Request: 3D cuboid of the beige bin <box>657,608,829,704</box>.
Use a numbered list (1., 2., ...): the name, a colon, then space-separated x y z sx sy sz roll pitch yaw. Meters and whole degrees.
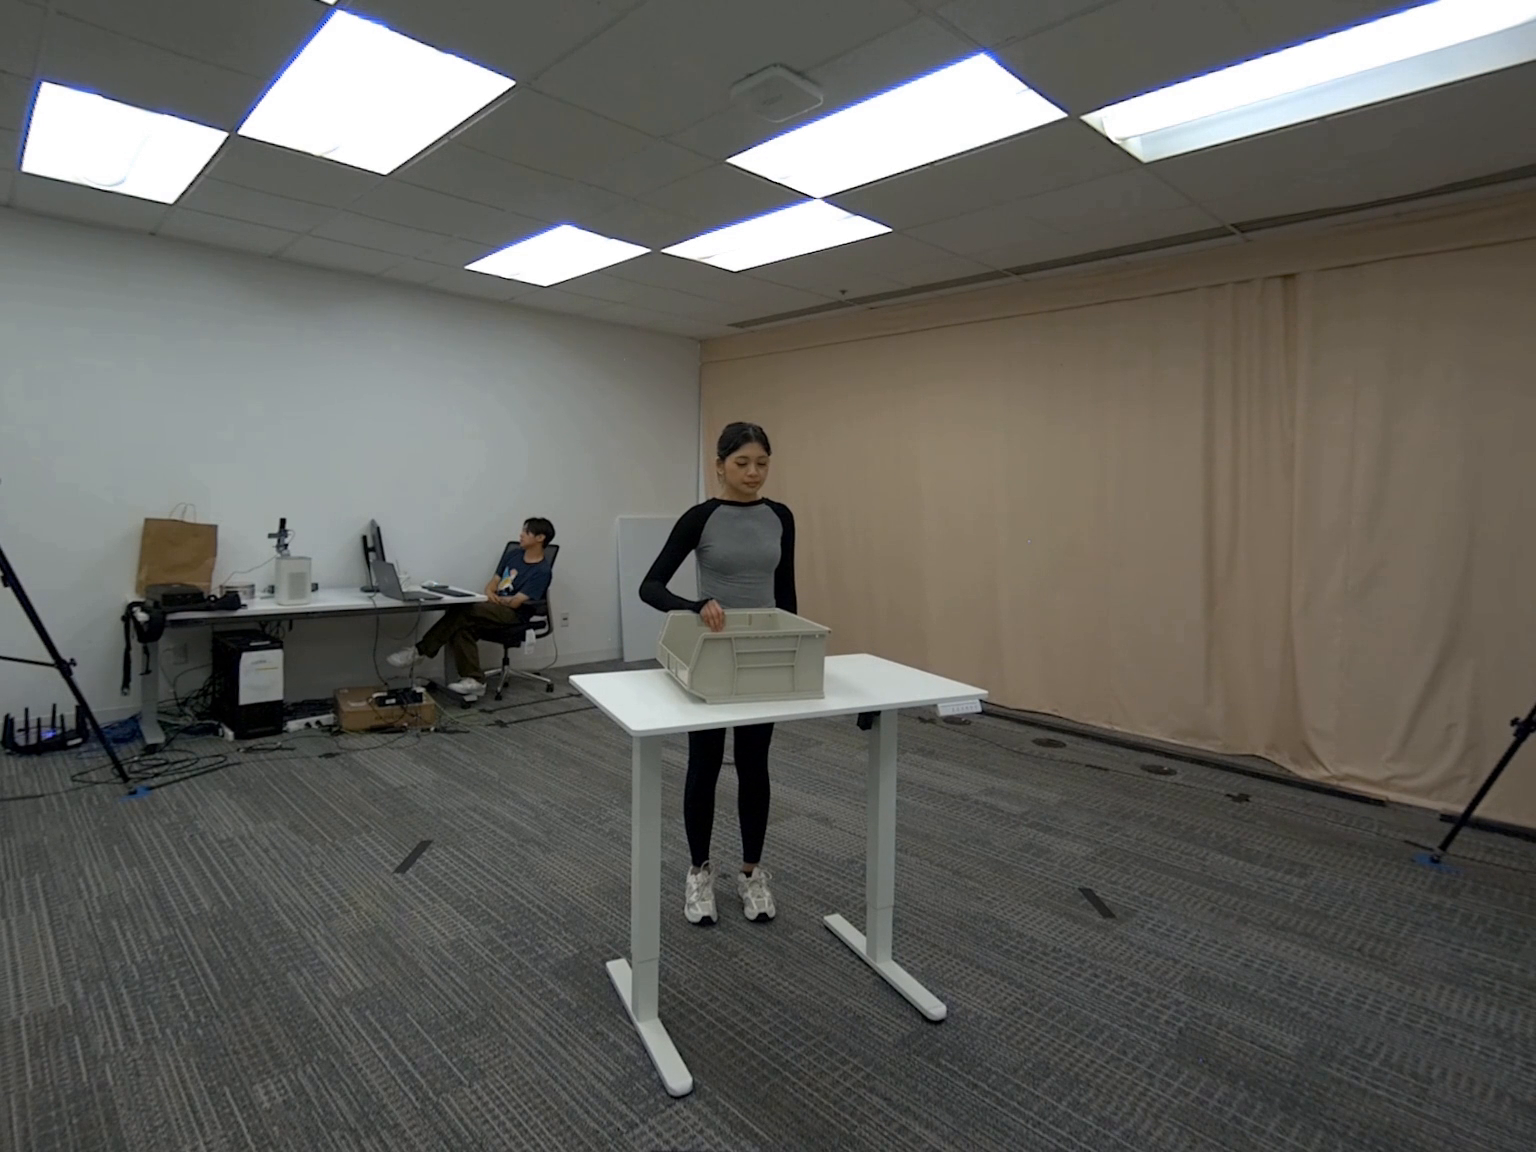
1. beige bin: -0.096 0.213 2.307 0.372 0.188 0.429 2 4 -16
